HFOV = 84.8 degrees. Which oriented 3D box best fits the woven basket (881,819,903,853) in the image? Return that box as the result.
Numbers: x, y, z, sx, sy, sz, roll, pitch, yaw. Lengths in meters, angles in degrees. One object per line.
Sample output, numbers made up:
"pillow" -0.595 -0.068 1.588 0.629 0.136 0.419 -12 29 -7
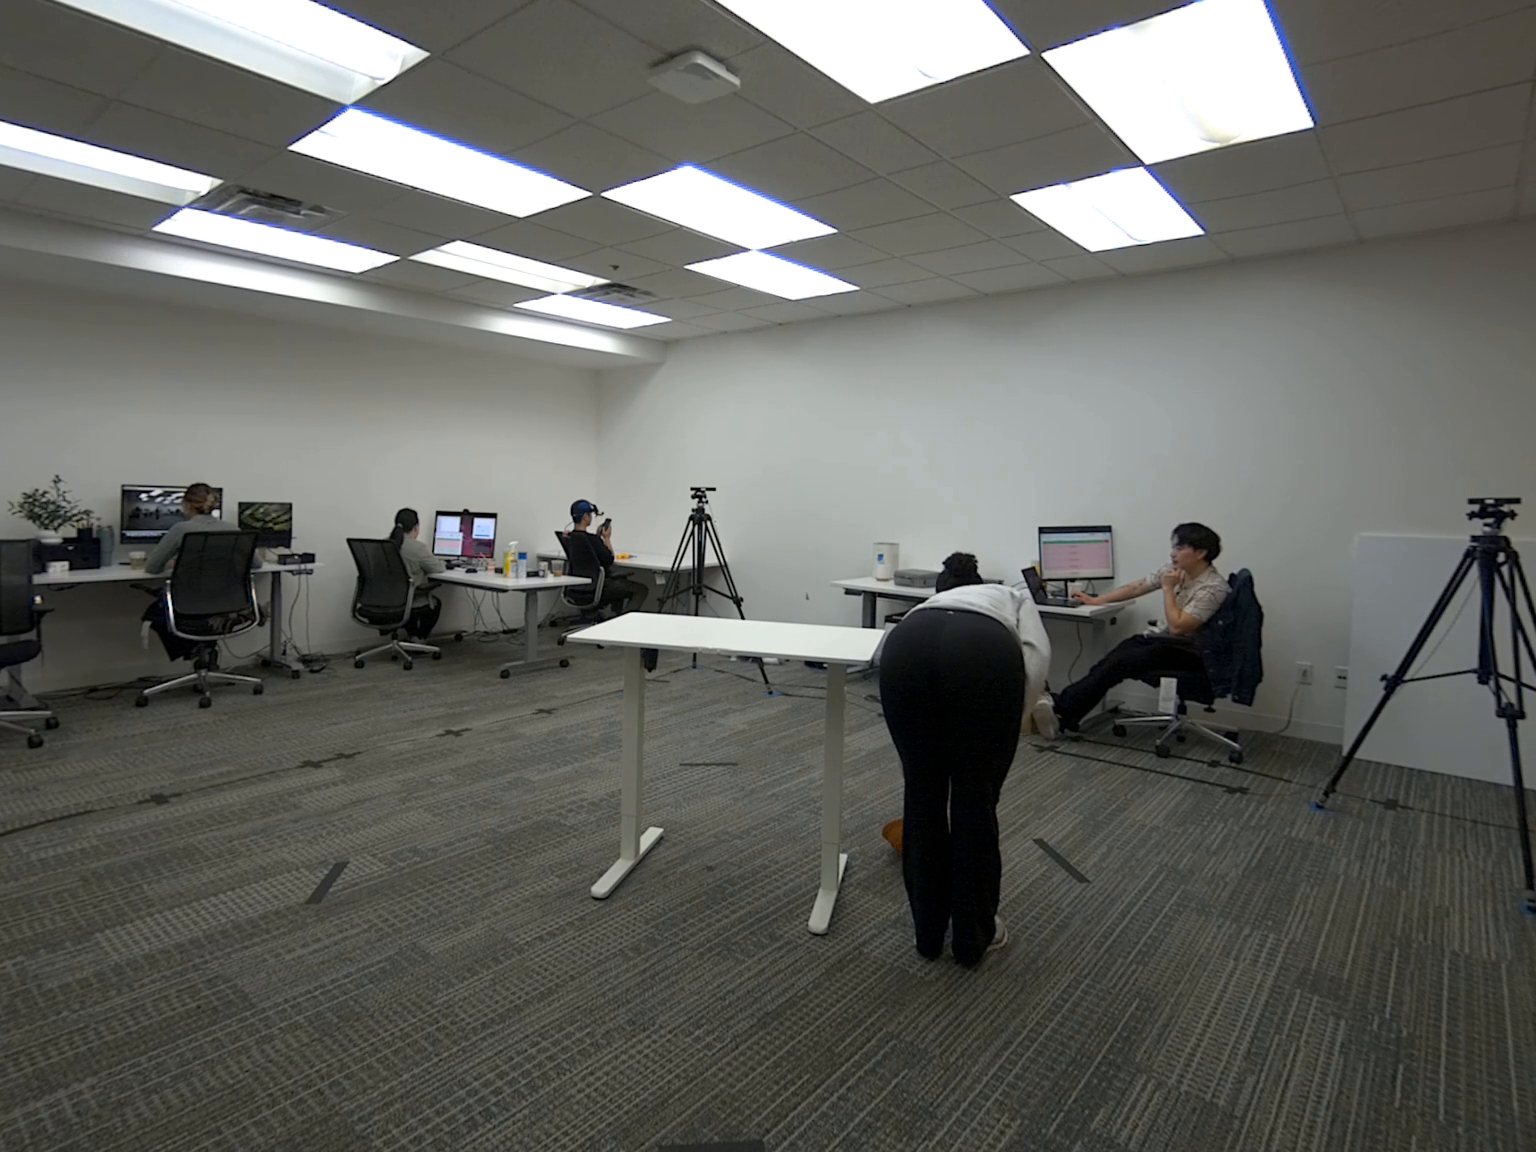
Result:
"woven basket" 0.545 0.956 3.177 0.253 0.075 0.339 -11 -29 1
